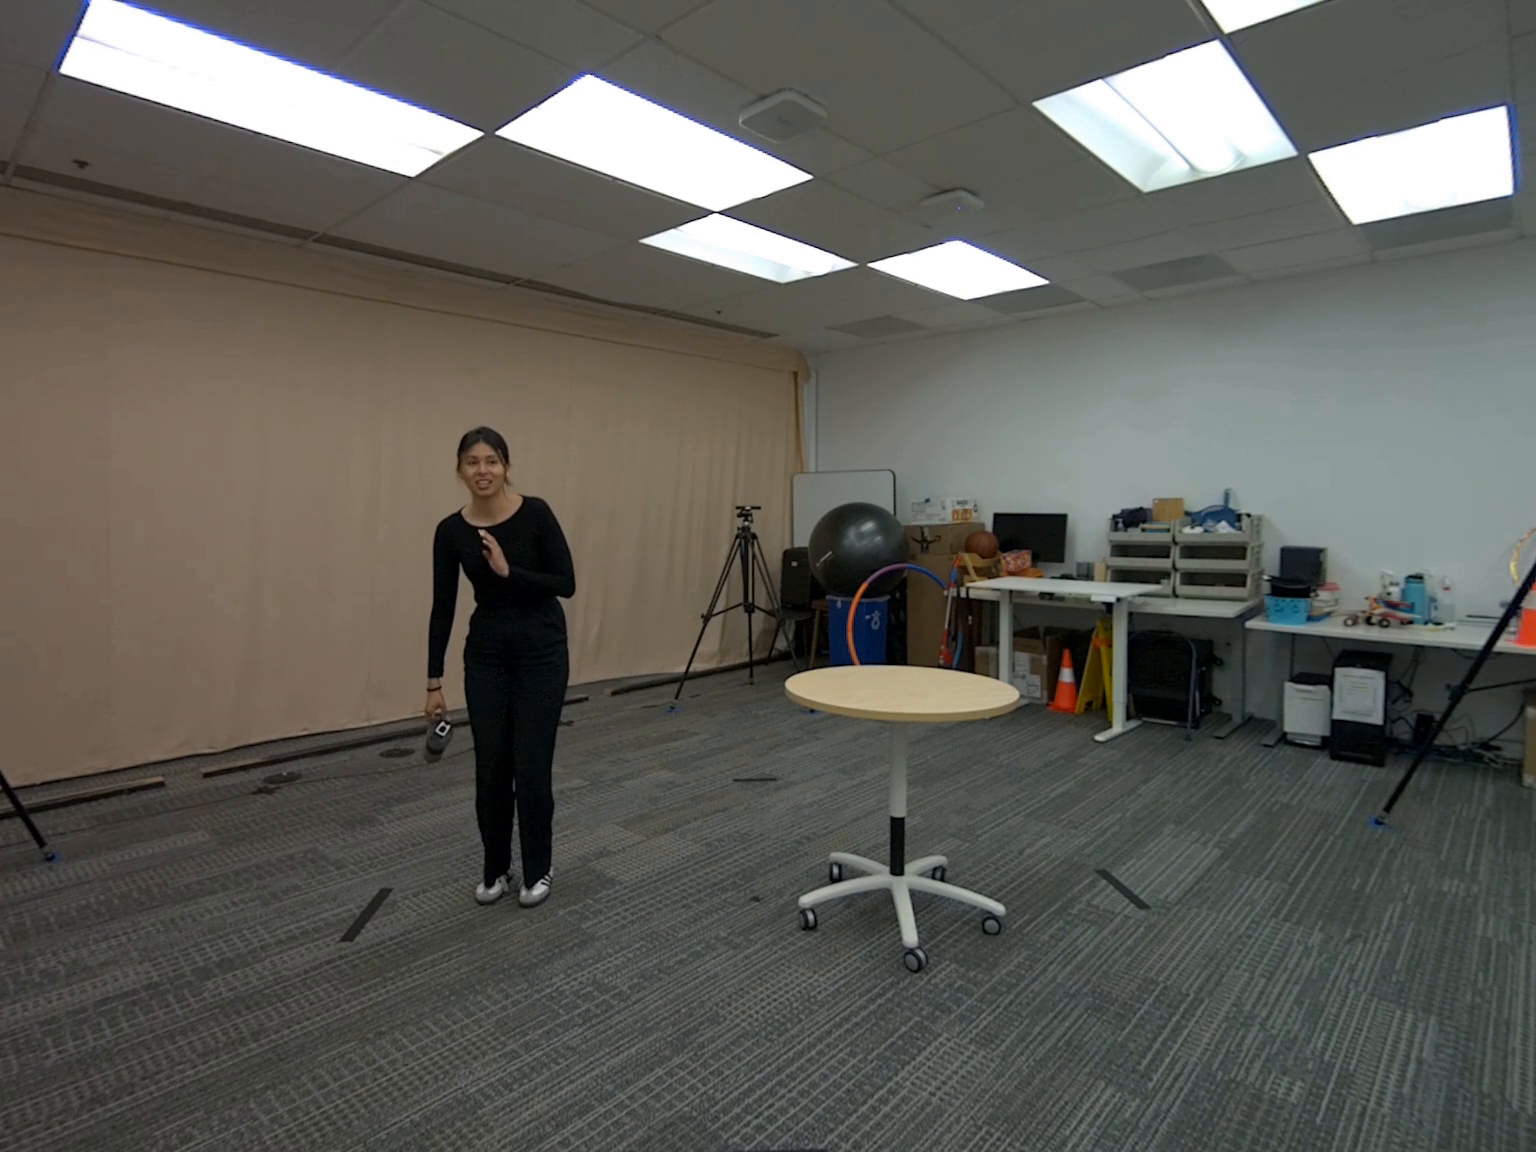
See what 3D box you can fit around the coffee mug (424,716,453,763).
[{"bbox_3d":[-1.186,0.587,3.011,0.085,0.125,0.204,0,-32,-31],"label":"coffee mug"}]
